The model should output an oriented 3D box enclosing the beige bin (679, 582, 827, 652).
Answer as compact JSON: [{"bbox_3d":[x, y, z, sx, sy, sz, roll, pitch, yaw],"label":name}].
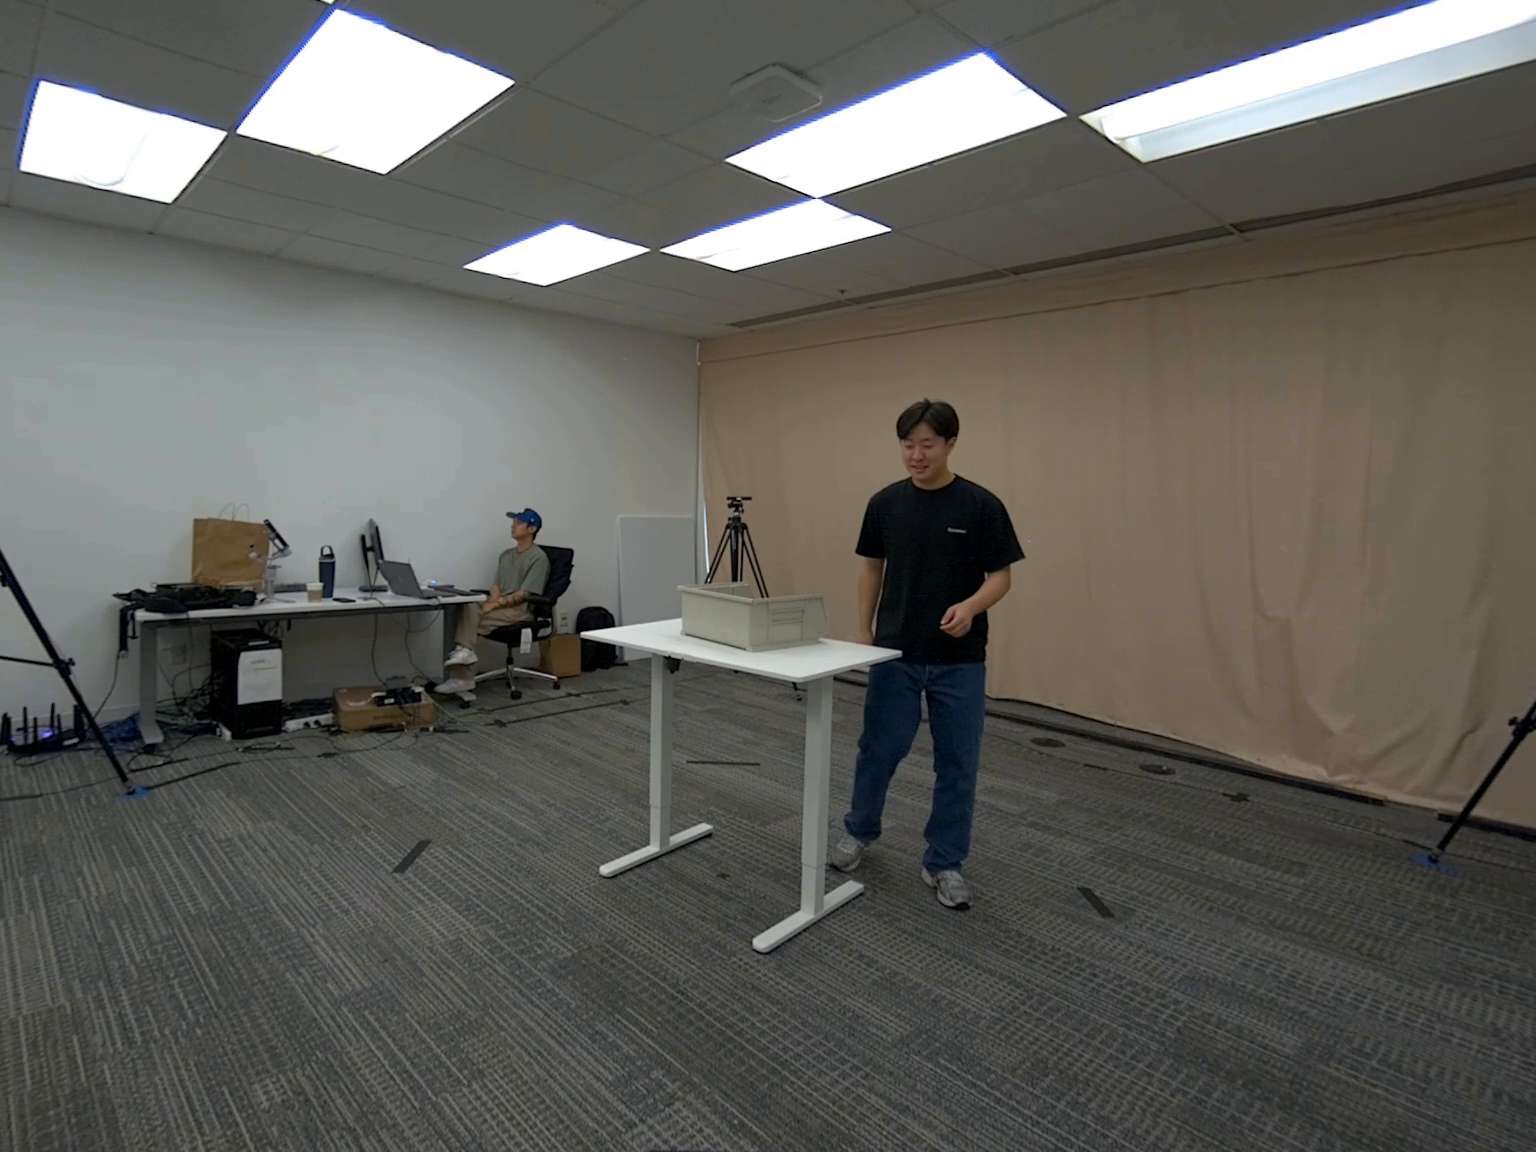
[{"bbox_3d":[-0.059,0.140,3.058,0.369,0.188,0.433,-5,8,-40],"label":"beige bin"}]
